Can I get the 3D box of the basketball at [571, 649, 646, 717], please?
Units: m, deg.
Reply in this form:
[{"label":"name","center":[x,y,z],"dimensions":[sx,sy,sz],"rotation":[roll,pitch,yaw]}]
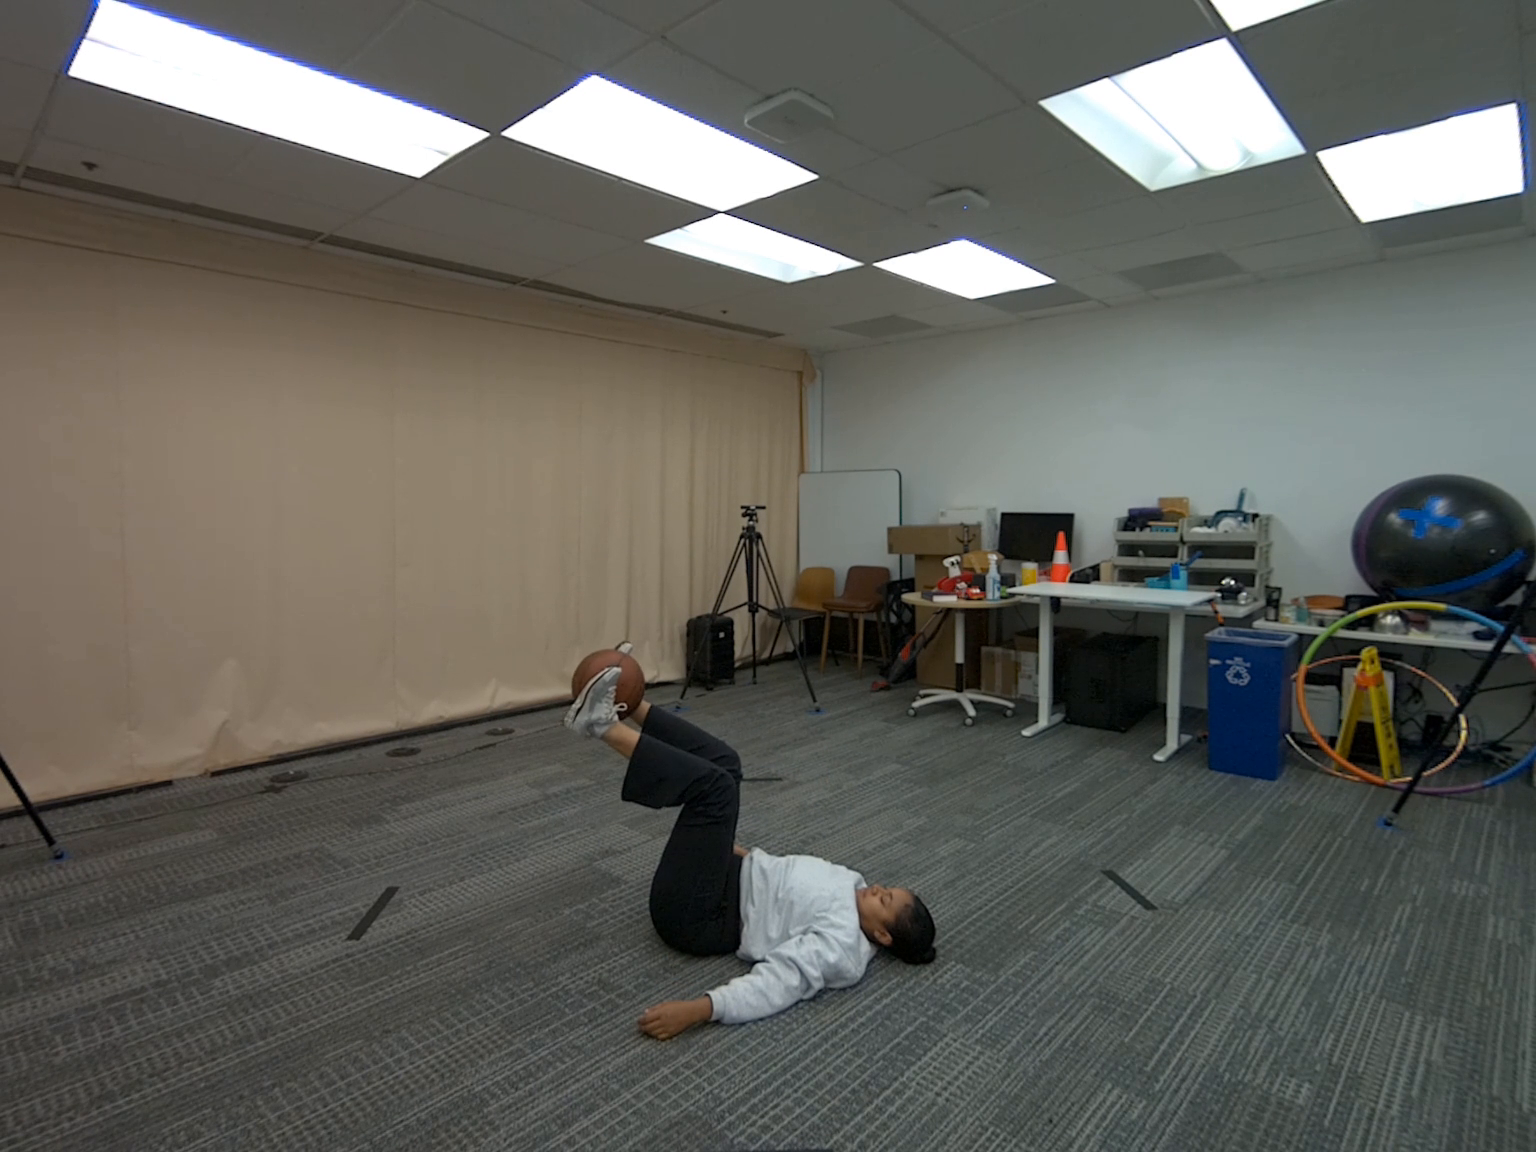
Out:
[{"label":"basketball","center":[-0.512,0.360,2.746],"dimensions":[0.236,0.236,0.236],"rotation":[2,0,-2]}]
